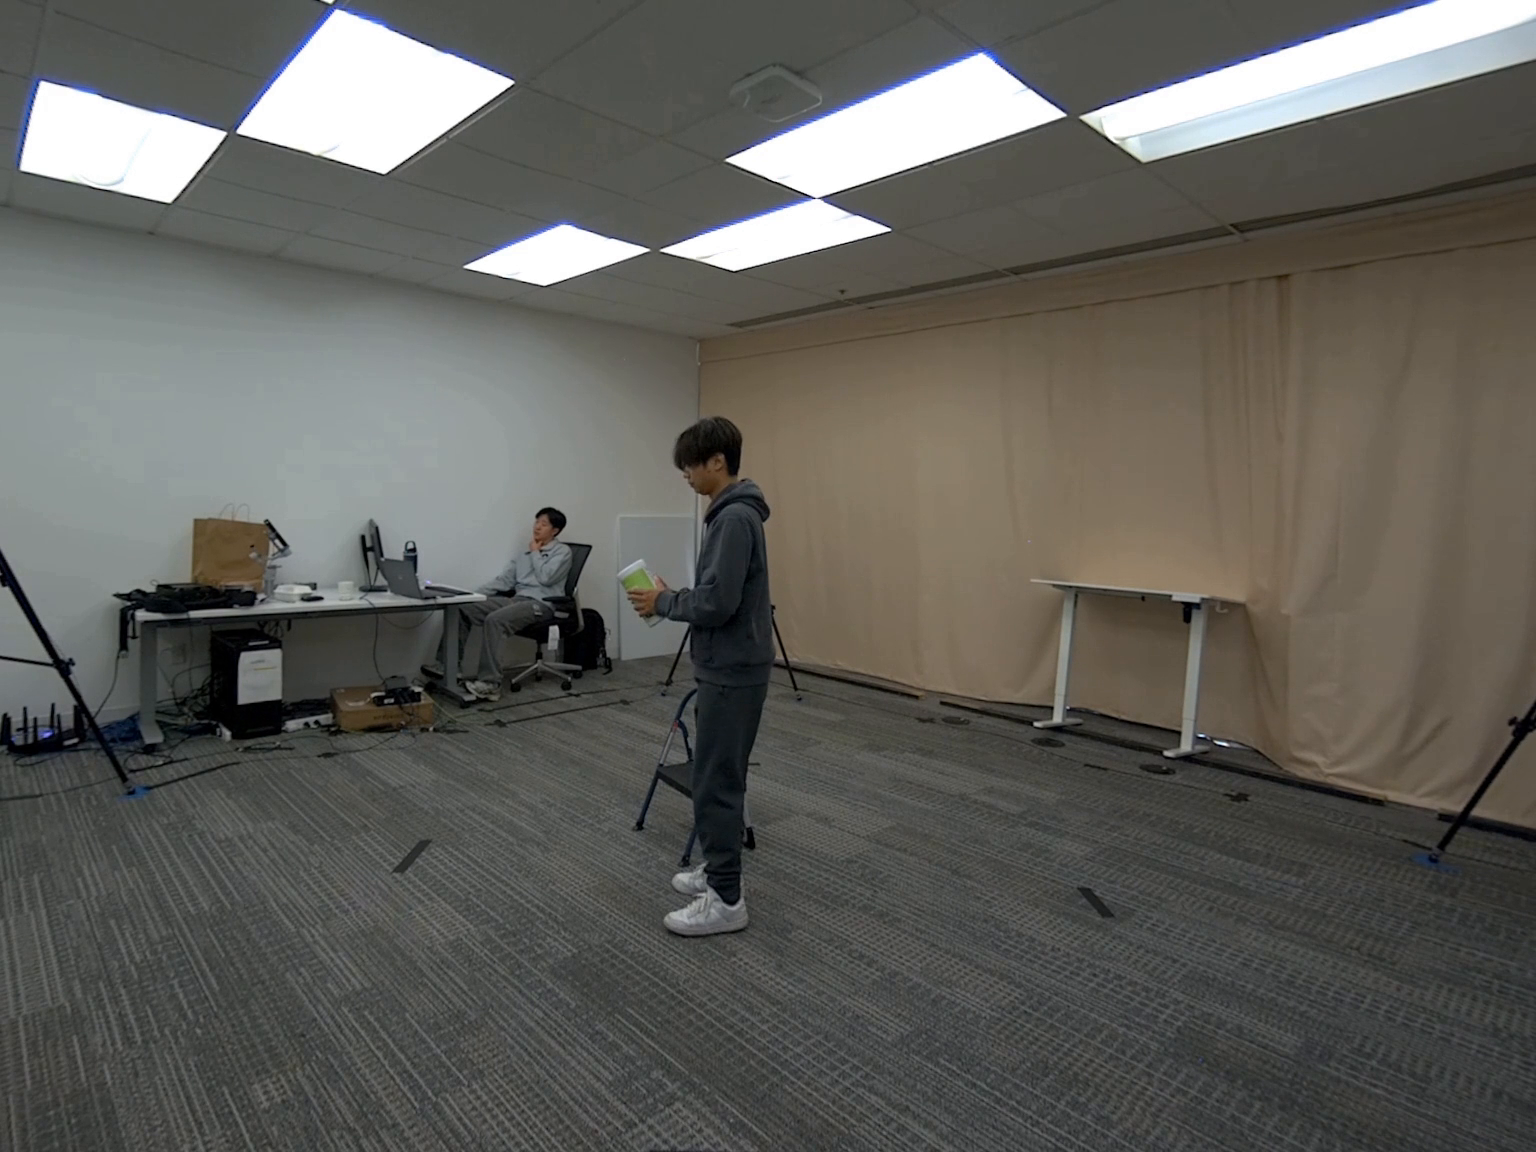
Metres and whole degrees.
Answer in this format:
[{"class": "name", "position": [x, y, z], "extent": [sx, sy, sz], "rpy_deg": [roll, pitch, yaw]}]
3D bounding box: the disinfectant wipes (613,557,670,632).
[{"class": "disinfectant wipes", "position": [-0.408, 0.062, 2.865], "extent": [0.117, 0.218, 0.117], "rpy_deg": [-34, -3, -3]}]
